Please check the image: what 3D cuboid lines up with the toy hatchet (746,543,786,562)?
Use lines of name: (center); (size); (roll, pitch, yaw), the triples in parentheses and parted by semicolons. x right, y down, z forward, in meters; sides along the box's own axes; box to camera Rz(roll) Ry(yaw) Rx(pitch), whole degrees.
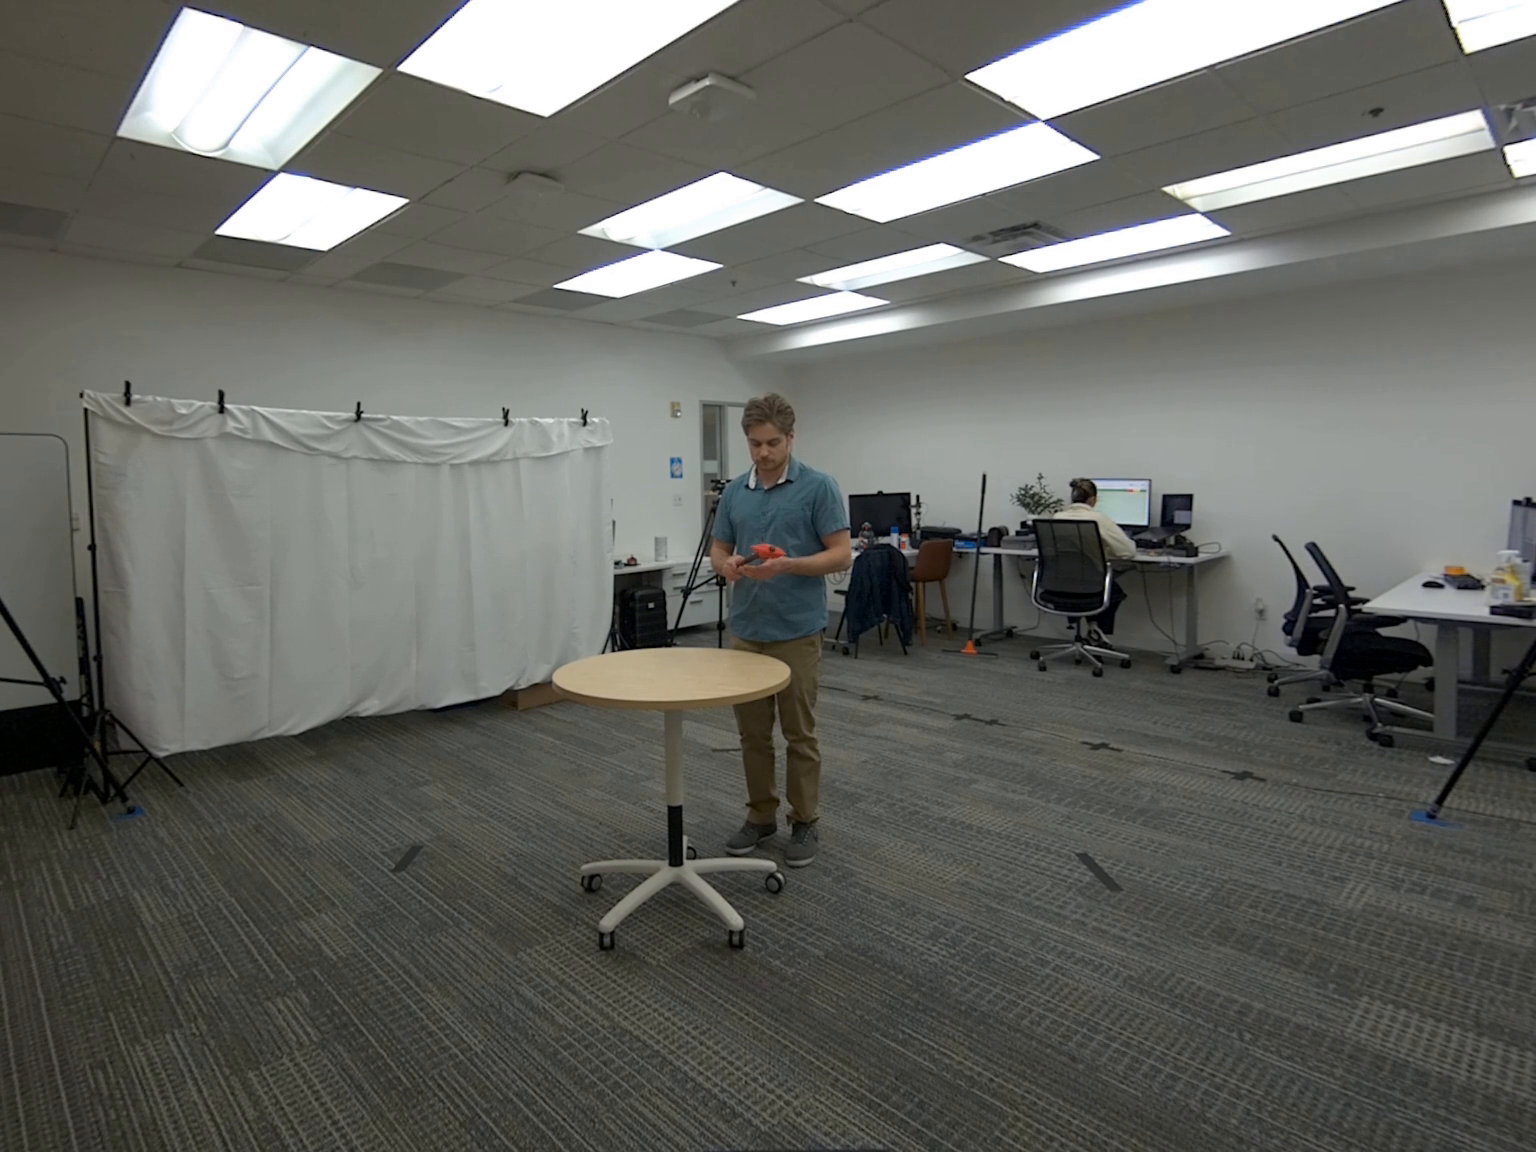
toy hatchet: (-0.032, -0.054, 2.902); (0.129, 0.030, 0.270); (4, -17, -16)
